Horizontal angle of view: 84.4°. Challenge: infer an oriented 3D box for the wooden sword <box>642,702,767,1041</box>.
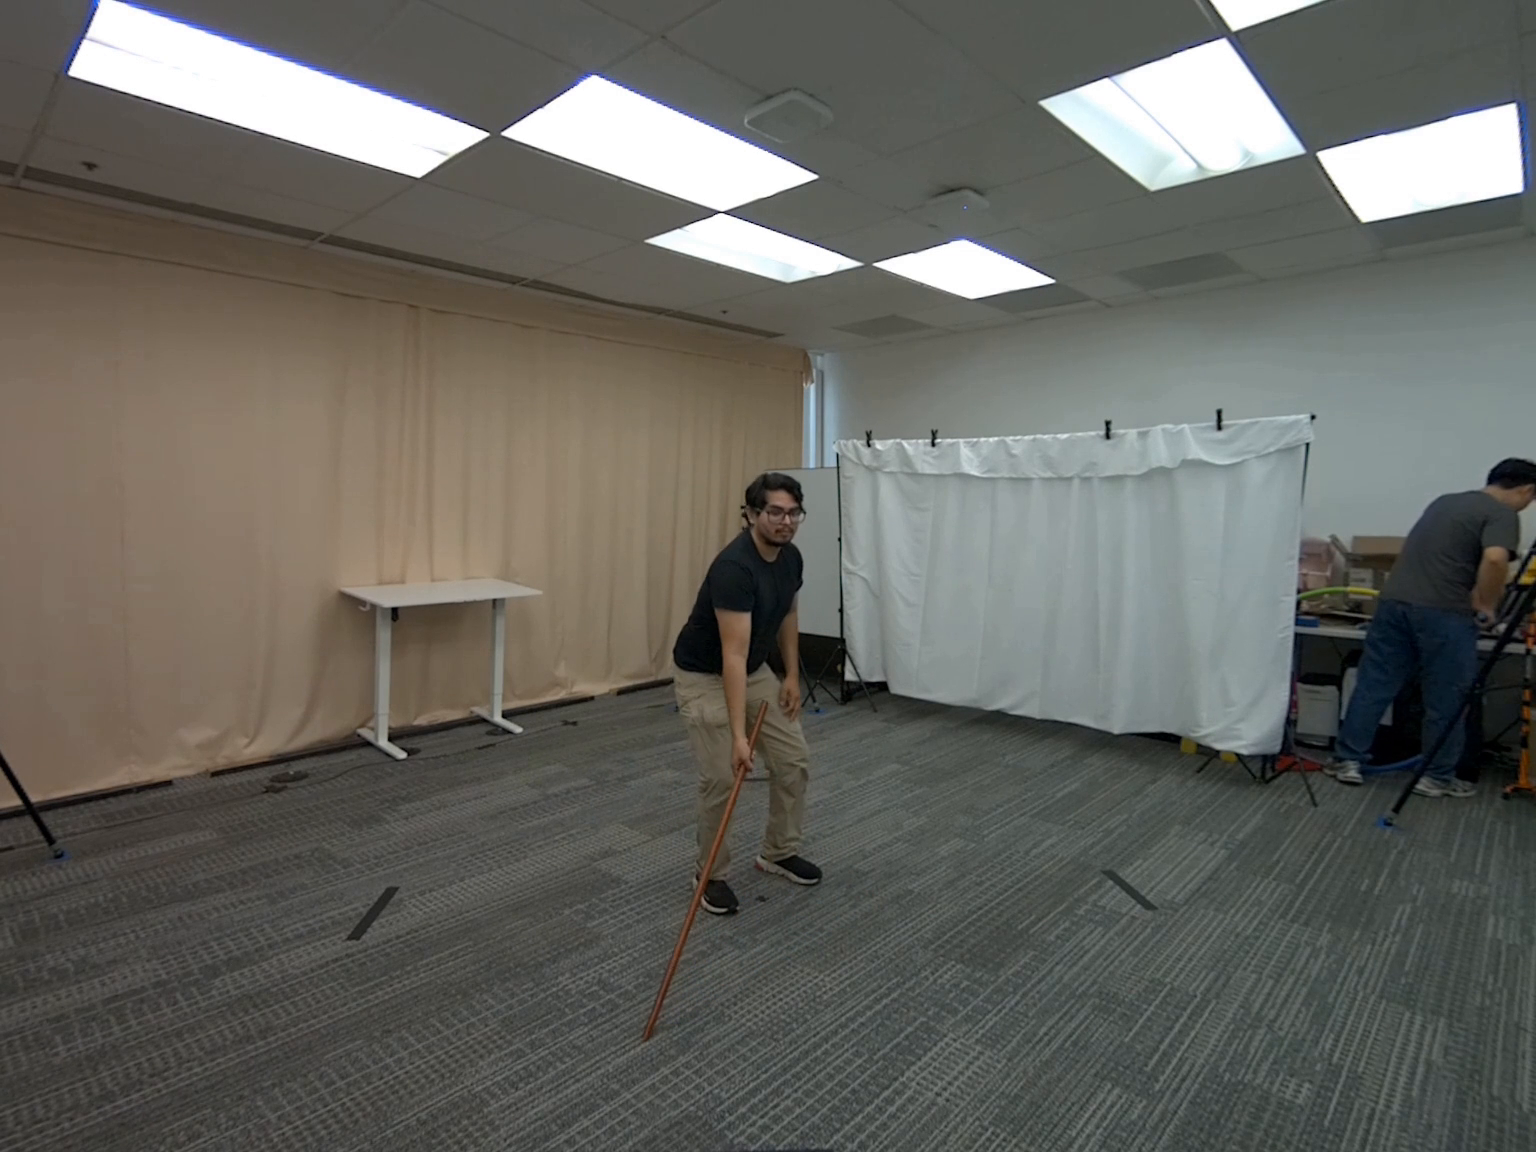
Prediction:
[{"bbox_3d":[-0.149,0.825,2.506,0.052,0.023,1.028,4,49,25],"label":"wooden sword"}]
